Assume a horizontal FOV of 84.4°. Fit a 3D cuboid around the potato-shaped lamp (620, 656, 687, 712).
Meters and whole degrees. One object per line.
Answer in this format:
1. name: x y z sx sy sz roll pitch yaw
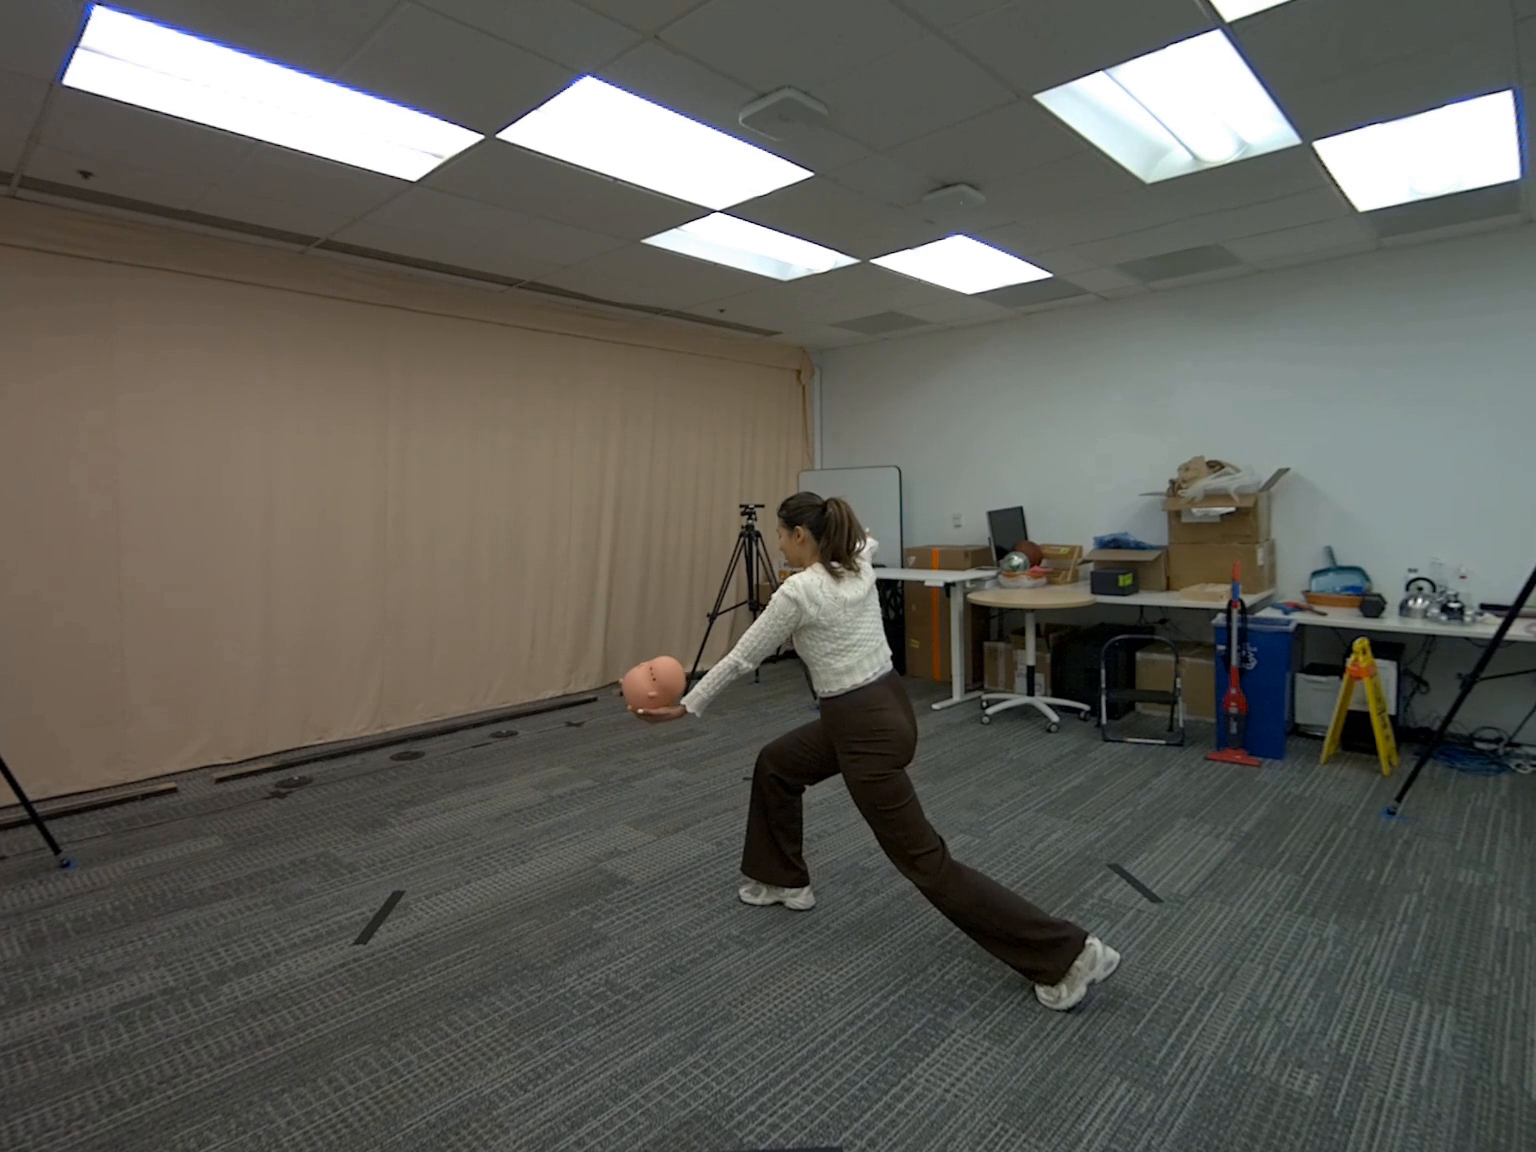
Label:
1. potato-shaped lamp: -0.355 0.356 2.716 0.200 0.169 0.165 -41 -35 23
